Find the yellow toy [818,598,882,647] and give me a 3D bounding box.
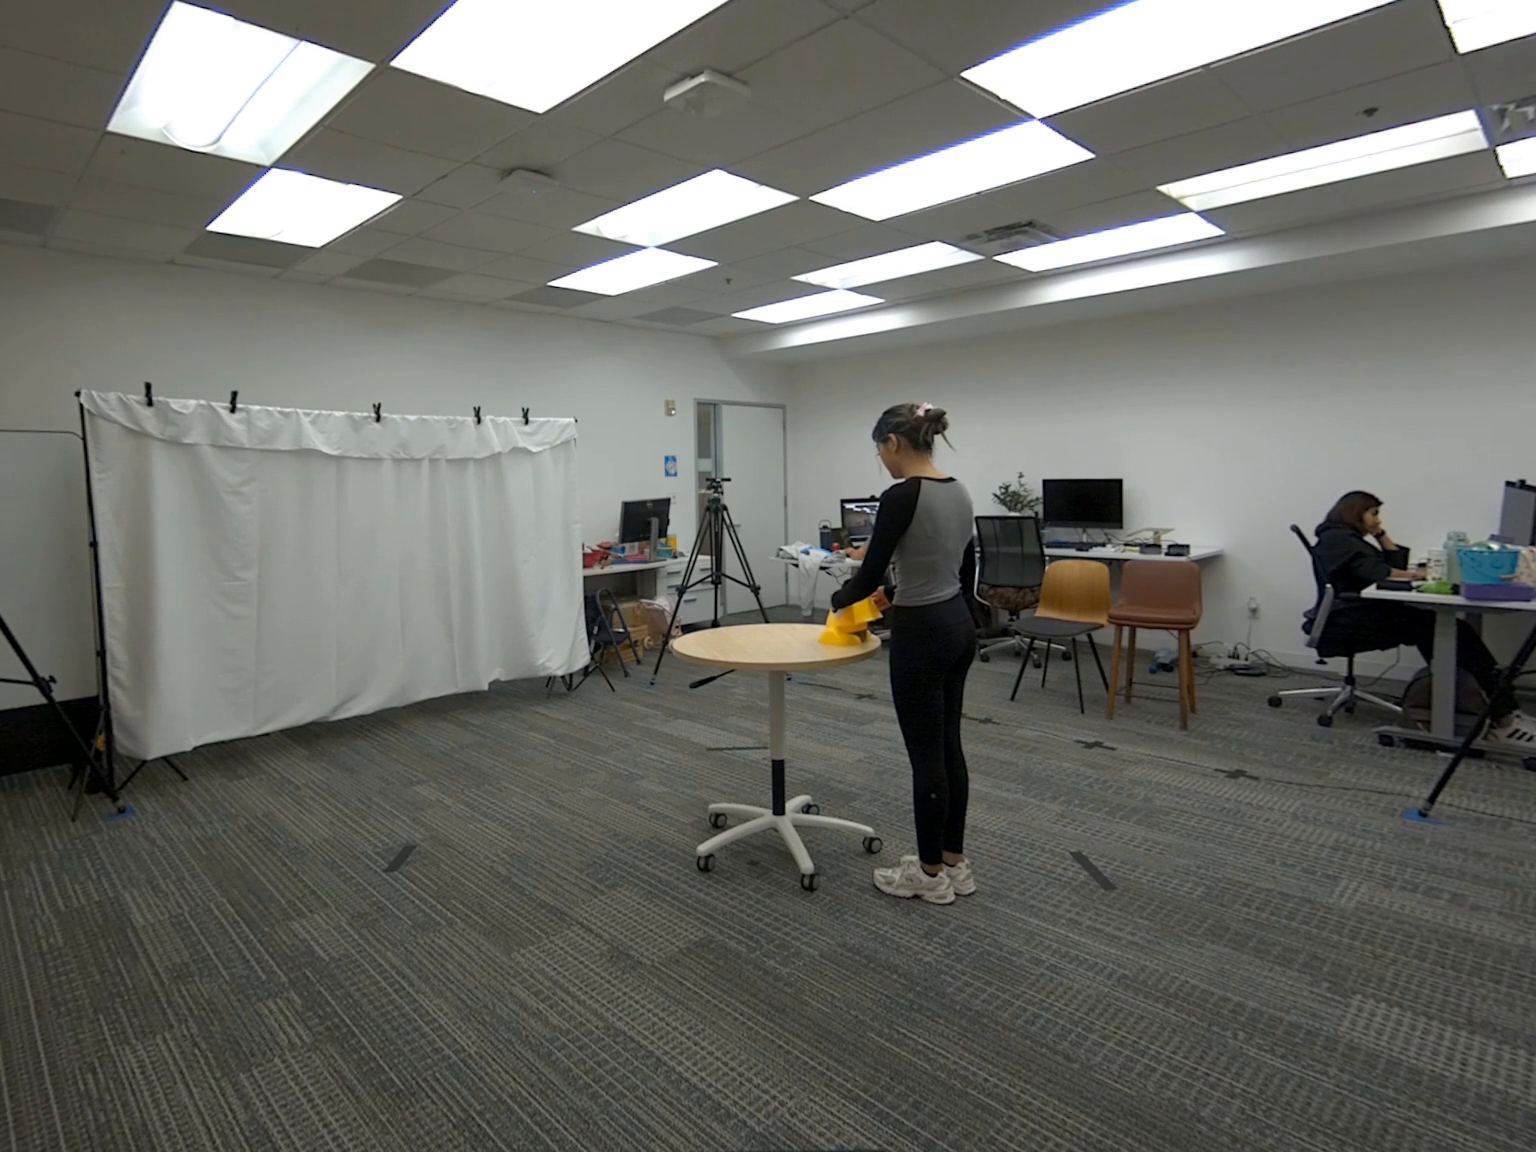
[{"bbox_3d":[0.296,0.123,3.134,0.198,0.230,0.200,1,5,37],"label":"yellow toy"}]
